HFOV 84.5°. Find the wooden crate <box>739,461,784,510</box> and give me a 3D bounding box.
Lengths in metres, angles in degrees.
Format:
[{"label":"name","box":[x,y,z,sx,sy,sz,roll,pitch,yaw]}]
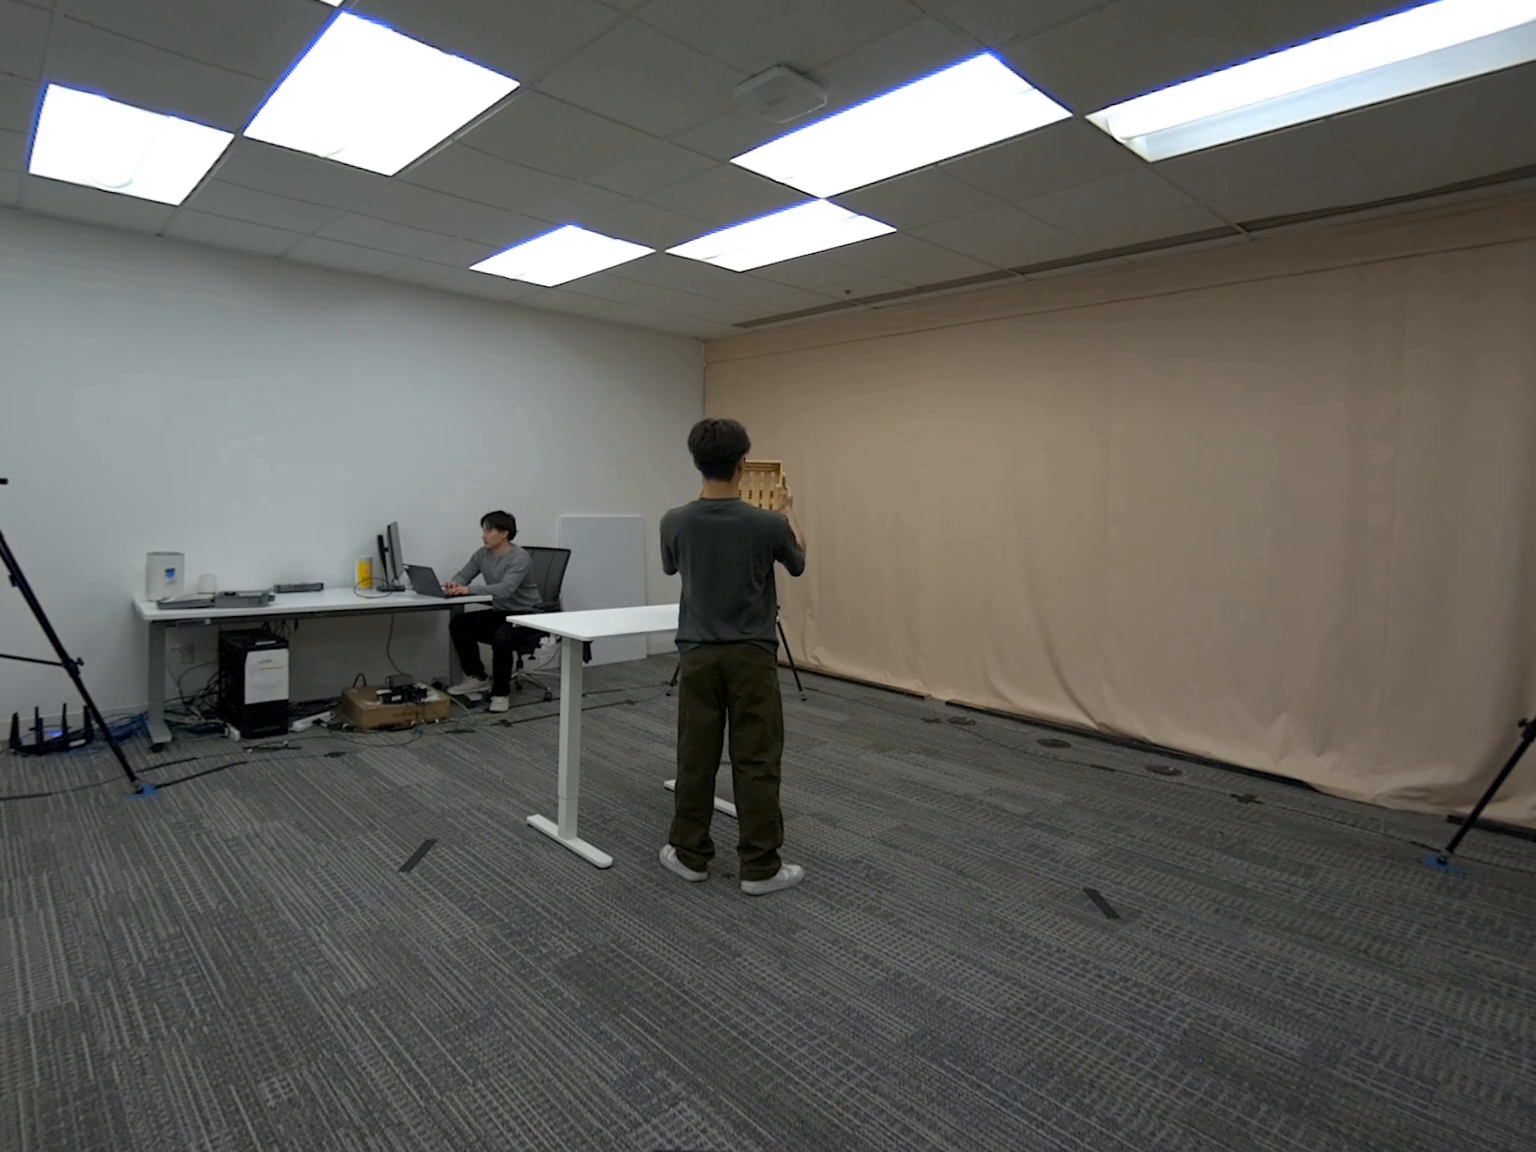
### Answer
[{"label":"wooden crate","box":[-0.092,-0.281,3.446,0.326,0.306,0.268,2,-19,6]}]
